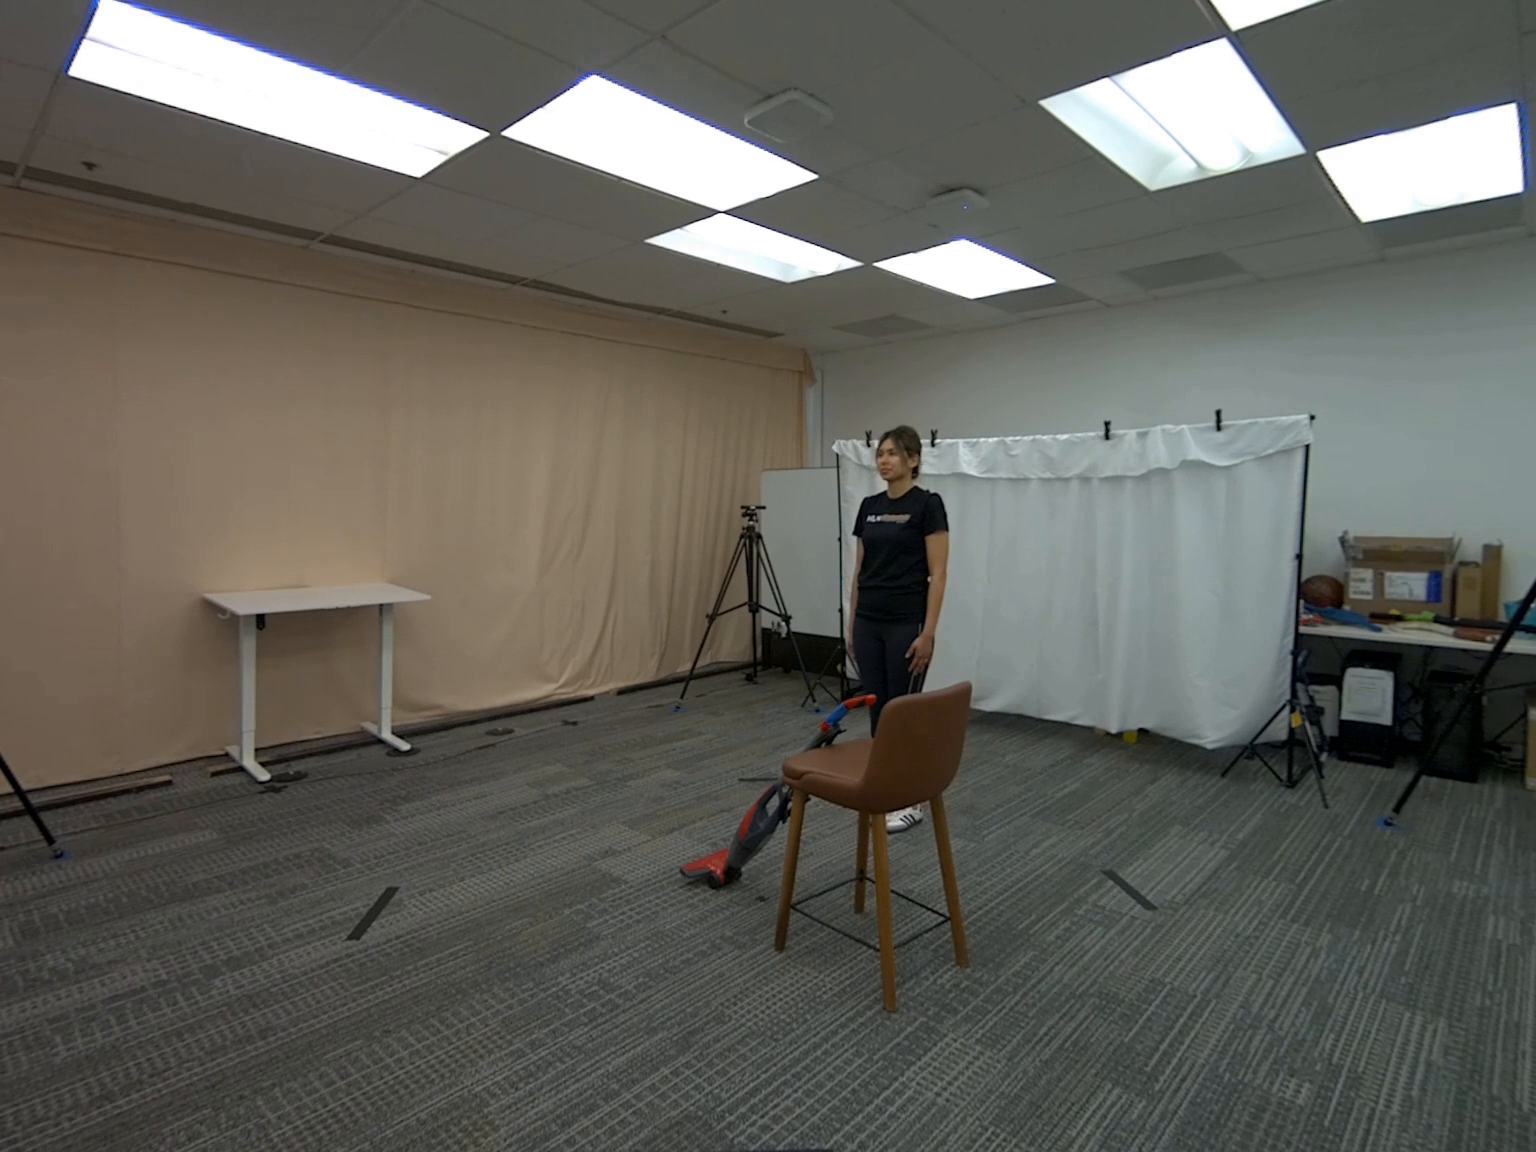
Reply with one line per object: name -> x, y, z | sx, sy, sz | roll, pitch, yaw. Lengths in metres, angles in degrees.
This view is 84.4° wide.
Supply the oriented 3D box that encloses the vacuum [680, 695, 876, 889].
vacuum -> 0.053, 0.746, 2.874 | 0.245, 1.051, 0.148 | -7, 50, -47
